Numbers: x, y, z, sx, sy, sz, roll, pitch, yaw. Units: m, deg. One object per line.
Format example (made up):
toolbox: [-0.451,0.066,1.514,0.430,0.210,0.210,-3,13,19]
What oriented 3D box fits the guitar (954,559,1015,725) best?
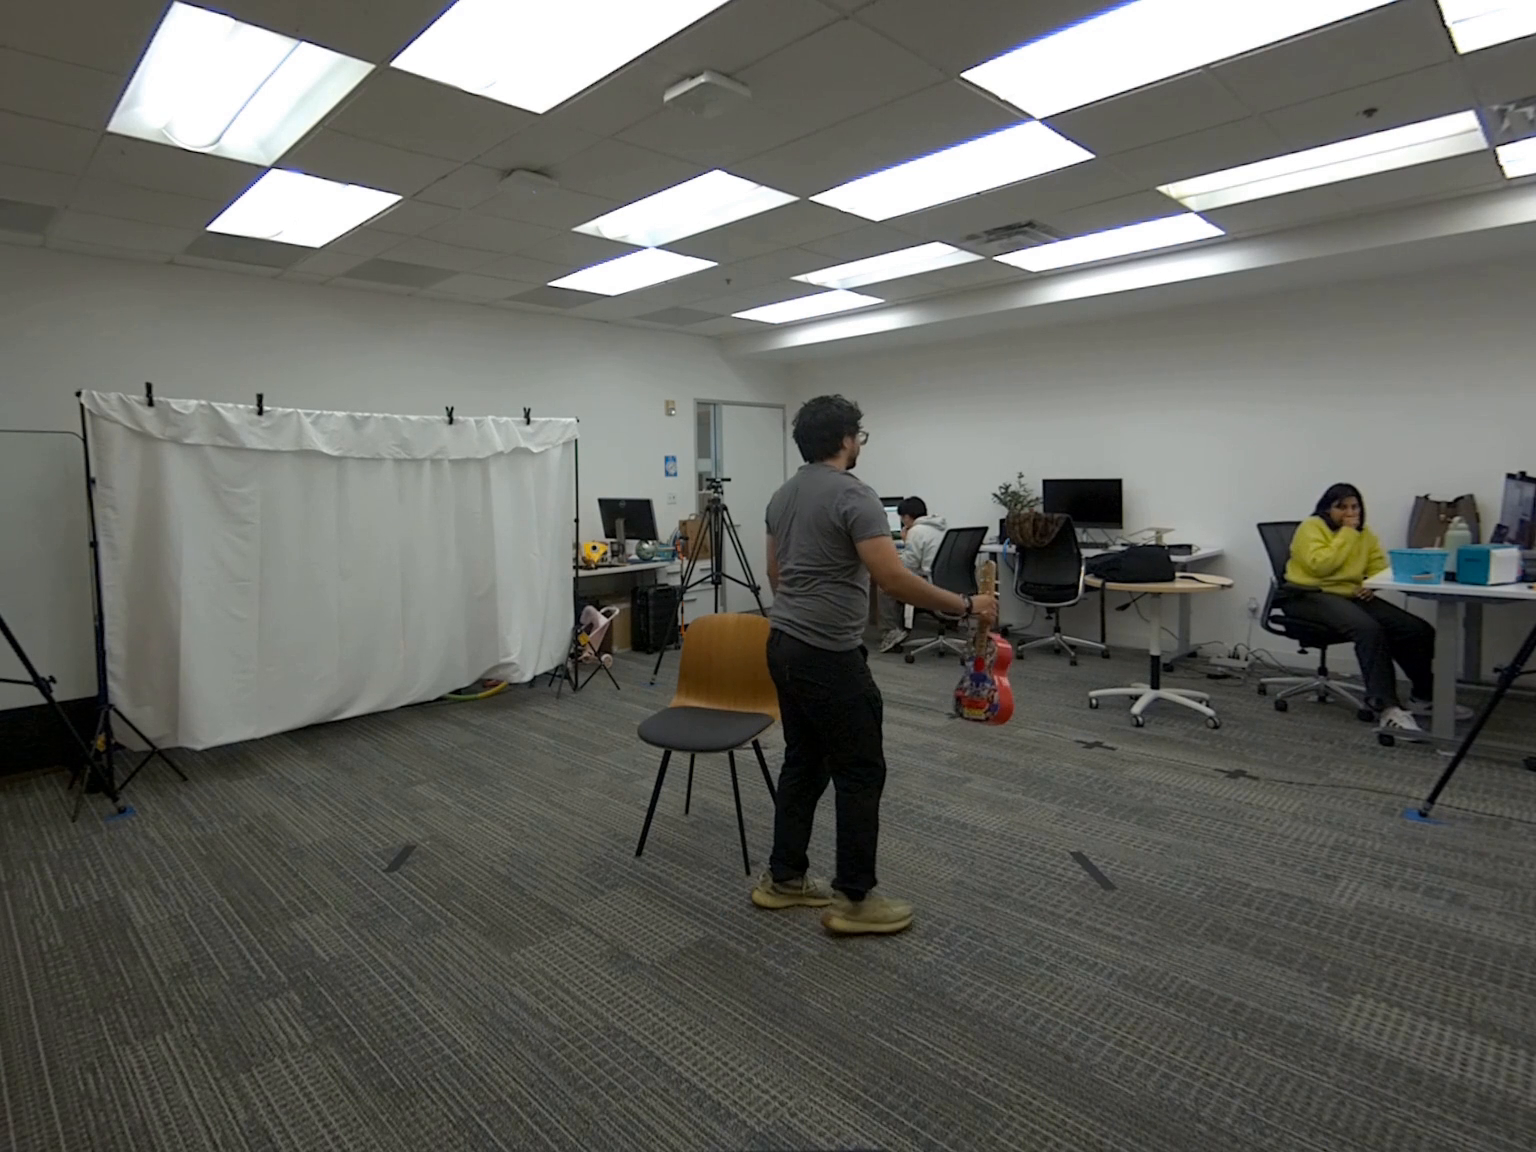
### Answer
guitar: [0.693,0.206,2.609,0.069,0.499,0.198,15,-3,-29]
